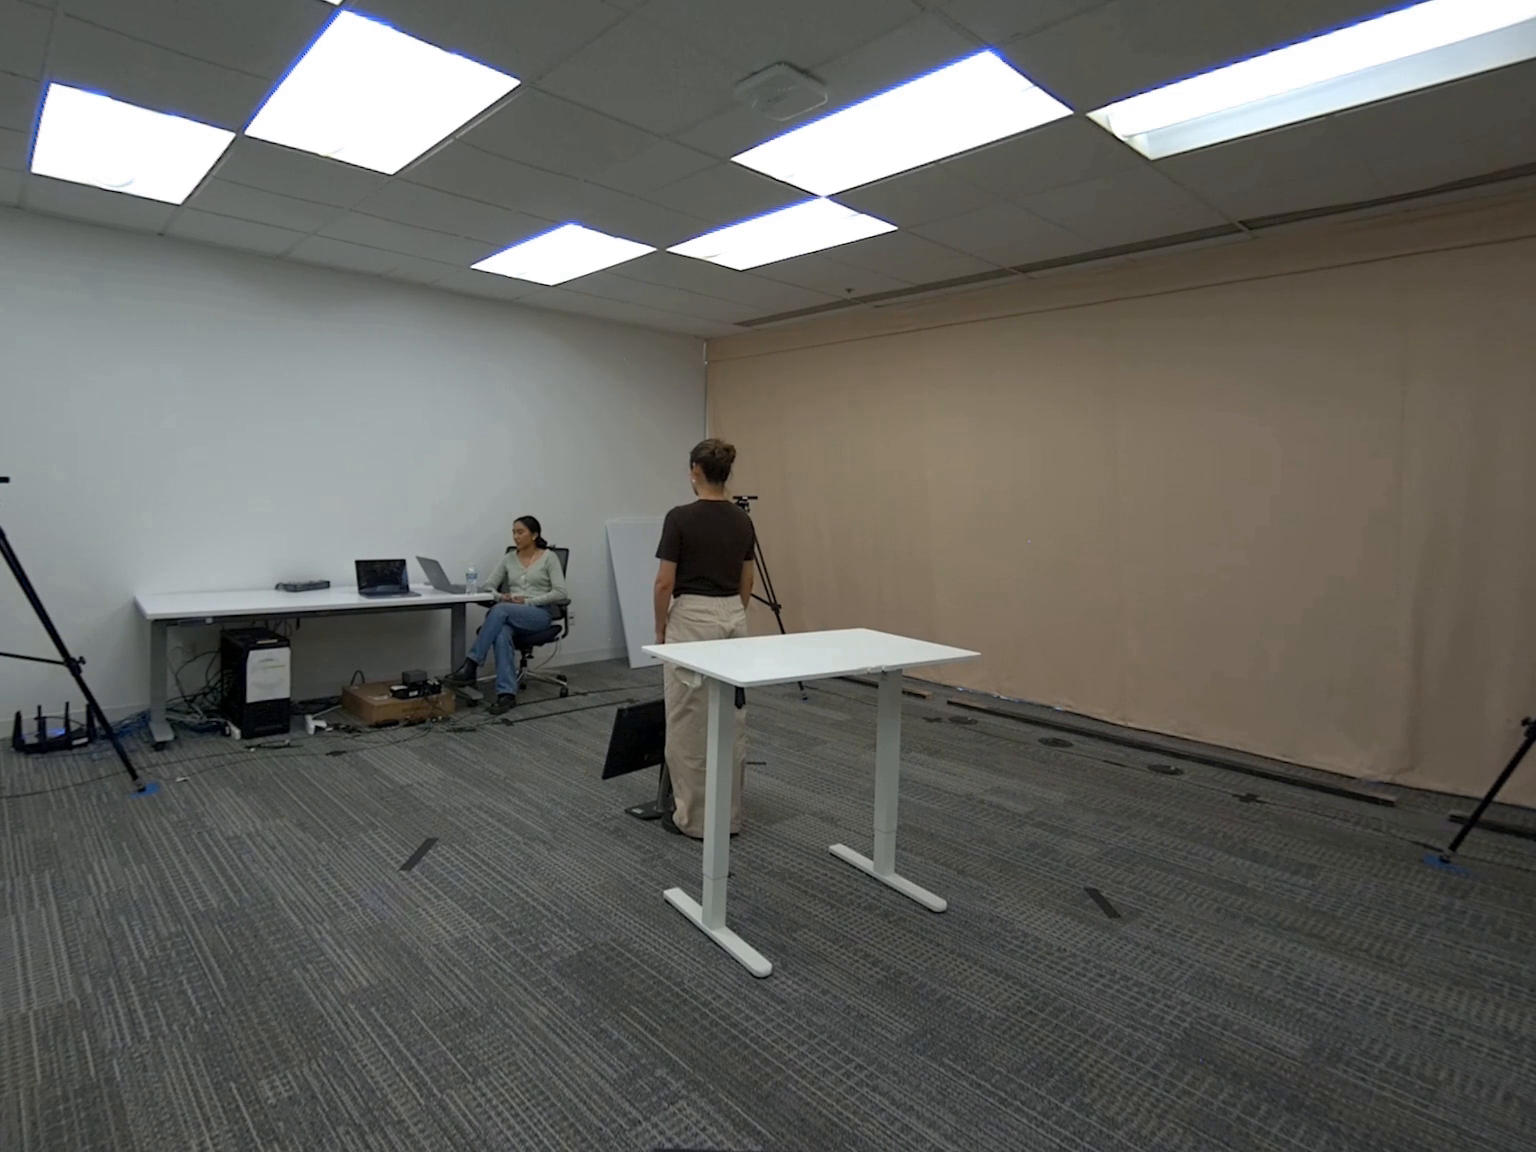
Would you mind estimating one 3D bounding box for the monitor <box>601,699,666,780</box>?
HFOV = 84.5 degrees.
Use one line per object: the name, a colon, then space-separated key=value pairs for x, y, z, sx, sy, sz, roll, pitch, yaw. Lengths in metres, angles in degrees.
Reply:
monitor: x=-0.471 y=0.786 z=3.713 sx=0.192 sy=0.520 sz=0.527 roll=7 pitch=8 yaw=42
